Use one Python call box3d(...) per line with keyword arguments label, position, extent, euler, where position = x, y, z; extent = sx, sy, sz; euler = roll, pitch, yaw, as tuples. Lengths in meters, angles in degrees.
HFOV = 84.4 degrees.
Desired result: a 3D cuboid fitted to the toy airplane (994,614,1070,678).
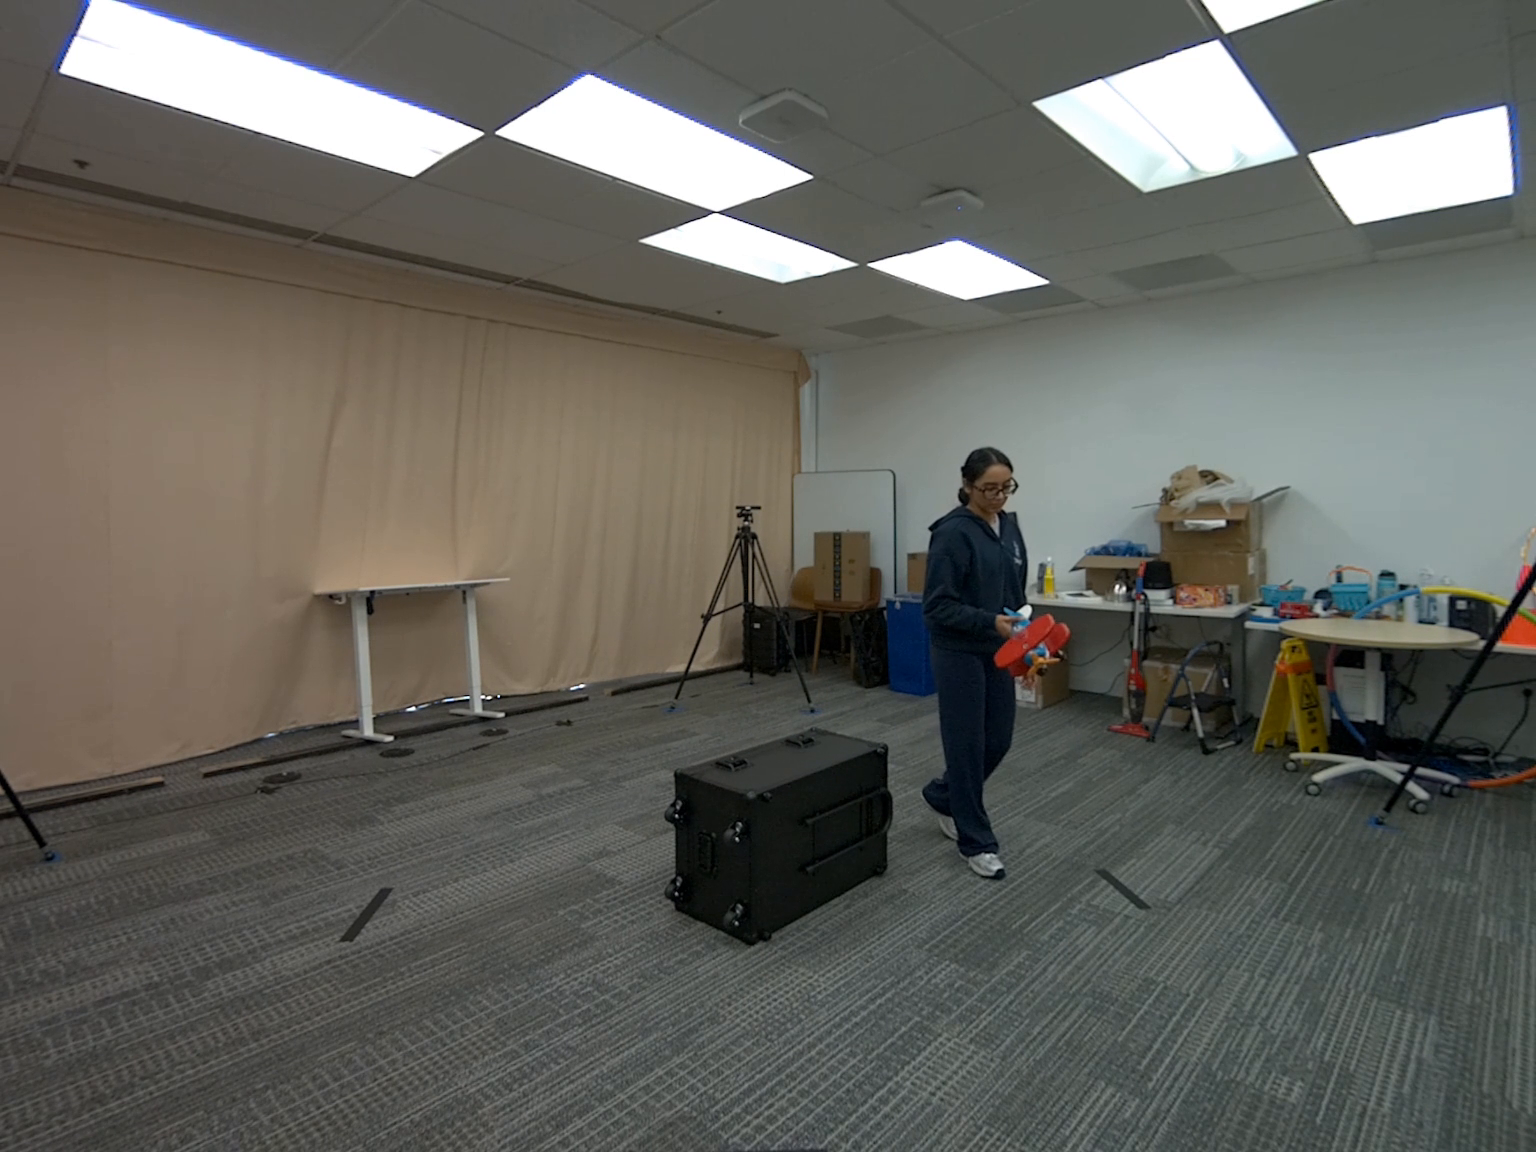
box3d(label="toy airplane", position=(0.910, 0.226, 2.955), extent=(0.151, 0.251, 0.268), euler=(20, 7, -36))
